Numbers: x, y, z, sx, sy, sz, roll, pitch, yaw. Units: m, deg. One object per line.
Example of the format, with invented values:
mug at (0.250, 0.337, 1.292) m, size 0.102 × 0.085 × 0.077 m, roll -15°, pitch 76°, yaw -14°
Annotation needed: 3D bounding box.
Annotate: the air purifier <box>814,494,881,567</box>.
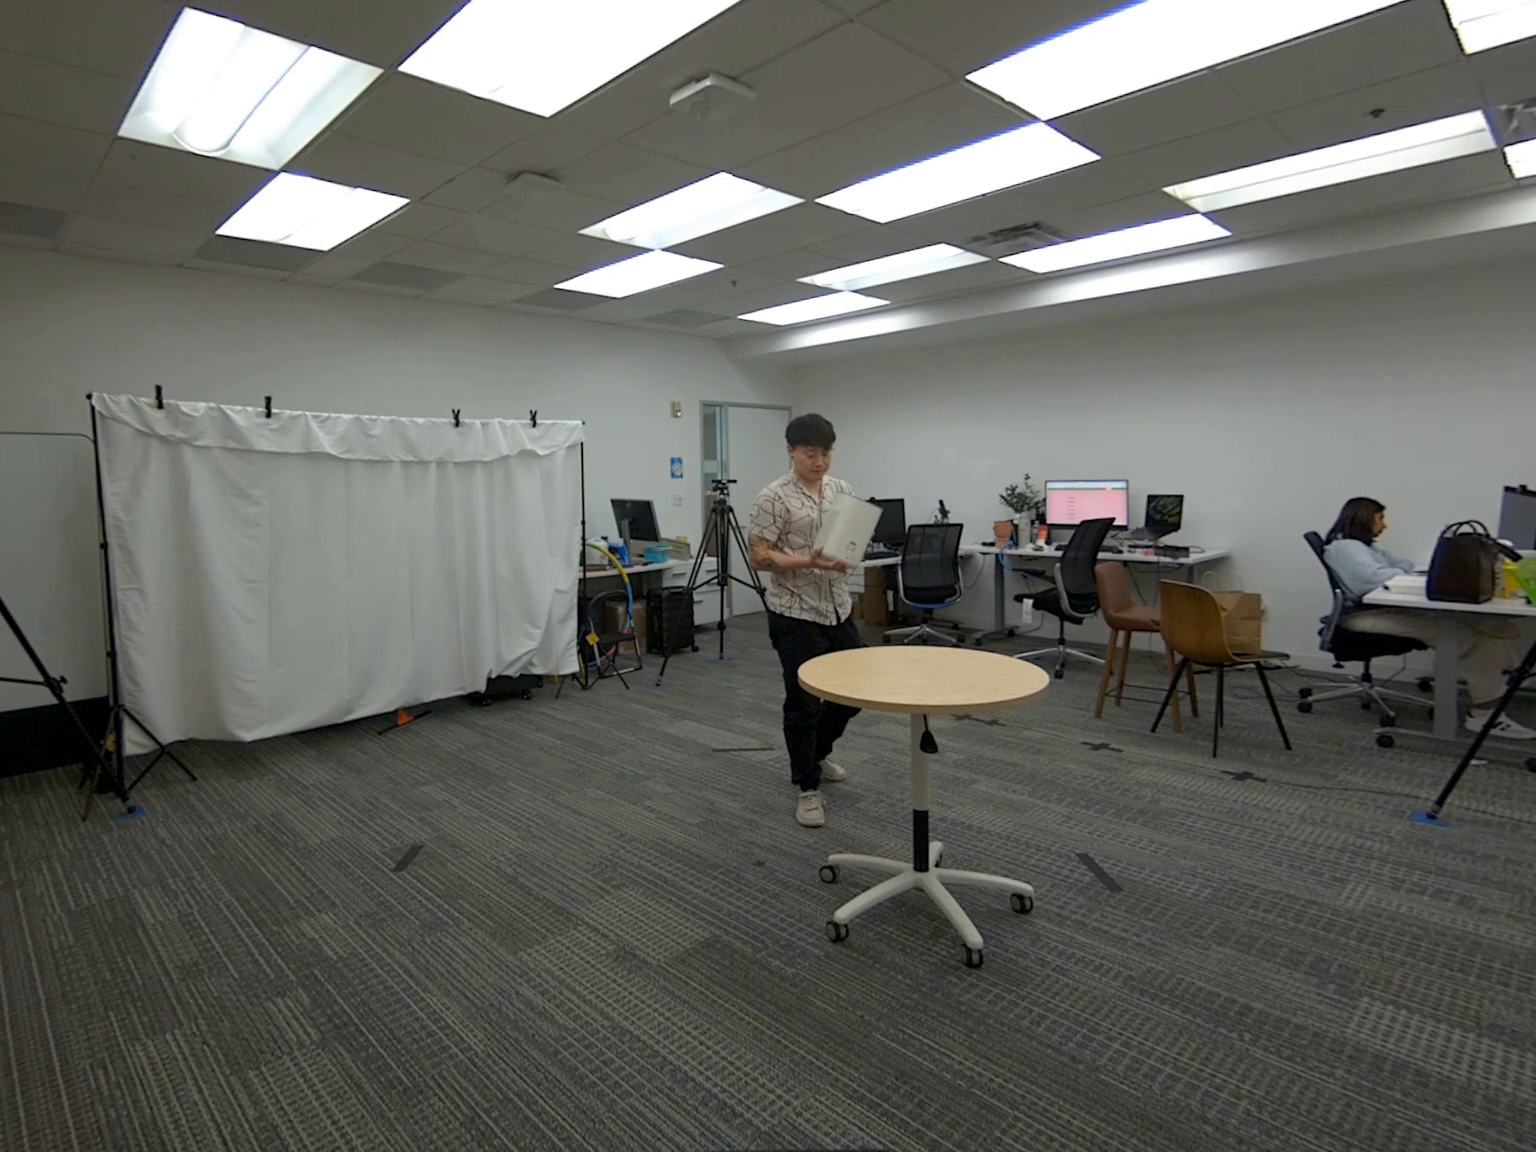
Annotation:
air purifier at (0.299, -0.171, 3.378) m, size 0.167 × 0.265 × 0.176 m, roll 20°, pitch 2°, yaw -22°
